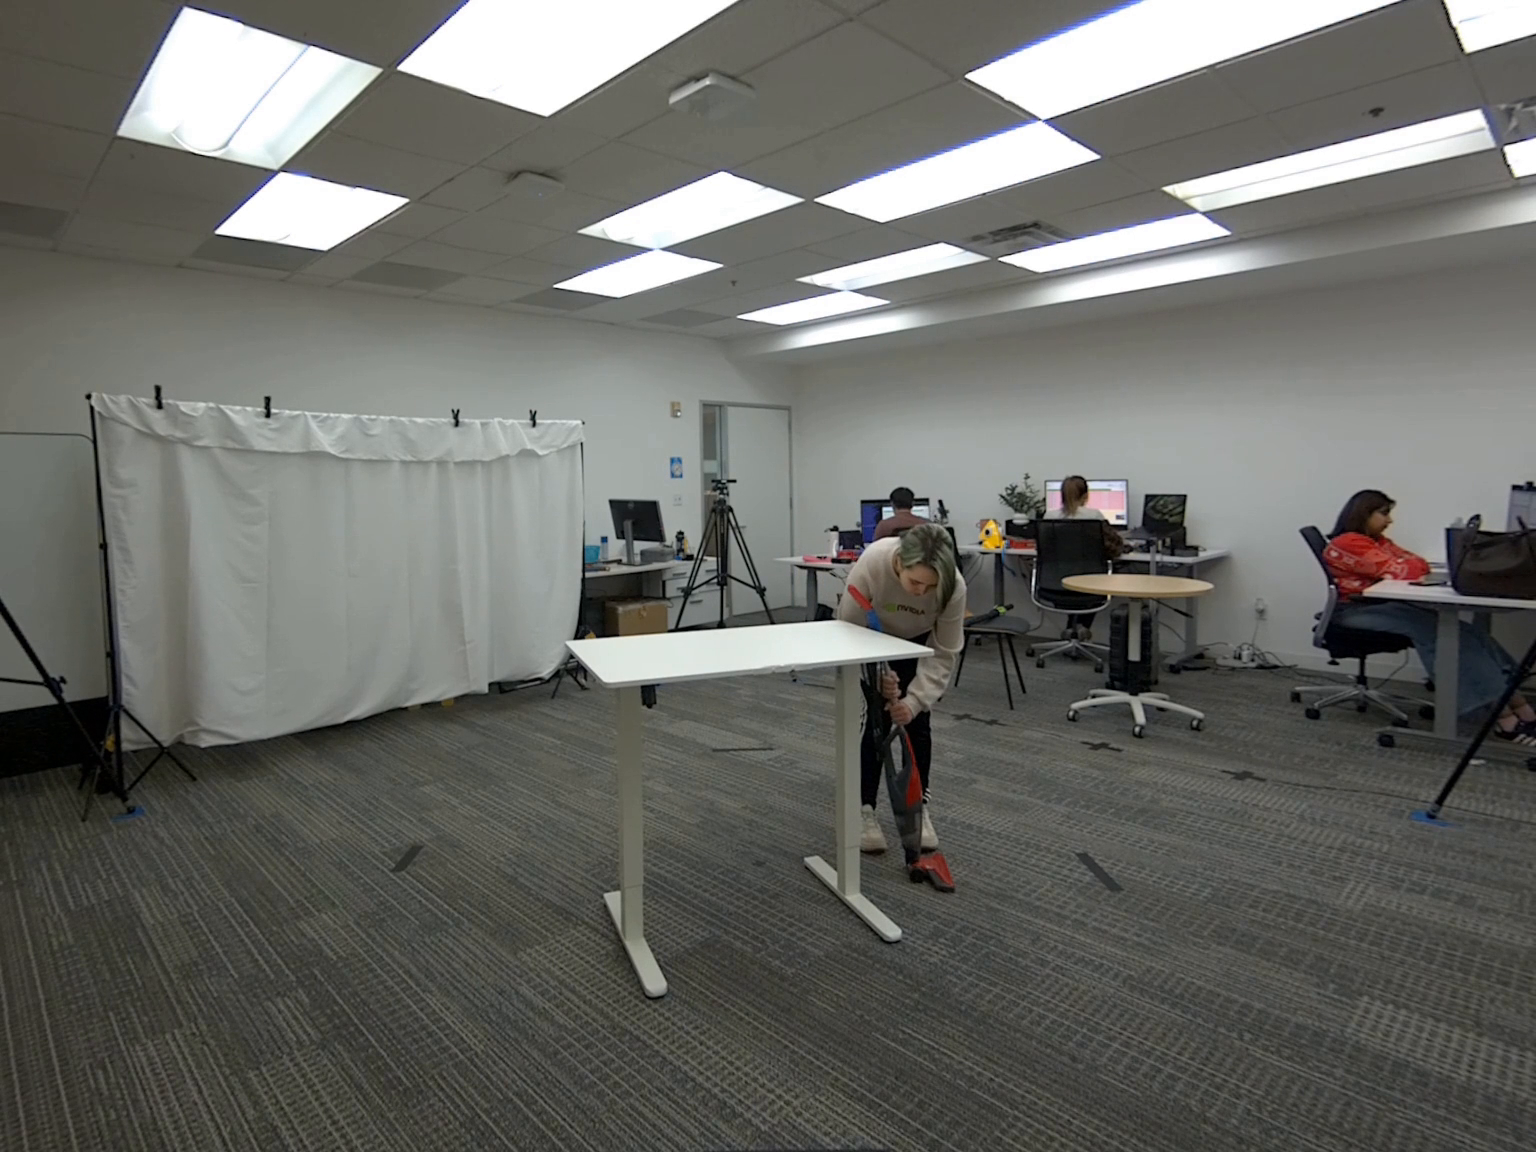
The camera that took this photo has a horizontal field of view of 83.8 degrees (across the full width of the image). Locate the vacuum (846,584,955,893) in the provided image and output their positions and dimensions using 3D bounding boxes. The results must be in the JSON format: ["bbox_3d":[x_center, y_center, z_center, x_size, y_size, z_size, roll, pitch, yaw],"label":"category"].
[{"bbox_3d":[0.435,0.552,2.982,0.144,1.047,0.252,-15,2,5],"label":"vacuum"}]
